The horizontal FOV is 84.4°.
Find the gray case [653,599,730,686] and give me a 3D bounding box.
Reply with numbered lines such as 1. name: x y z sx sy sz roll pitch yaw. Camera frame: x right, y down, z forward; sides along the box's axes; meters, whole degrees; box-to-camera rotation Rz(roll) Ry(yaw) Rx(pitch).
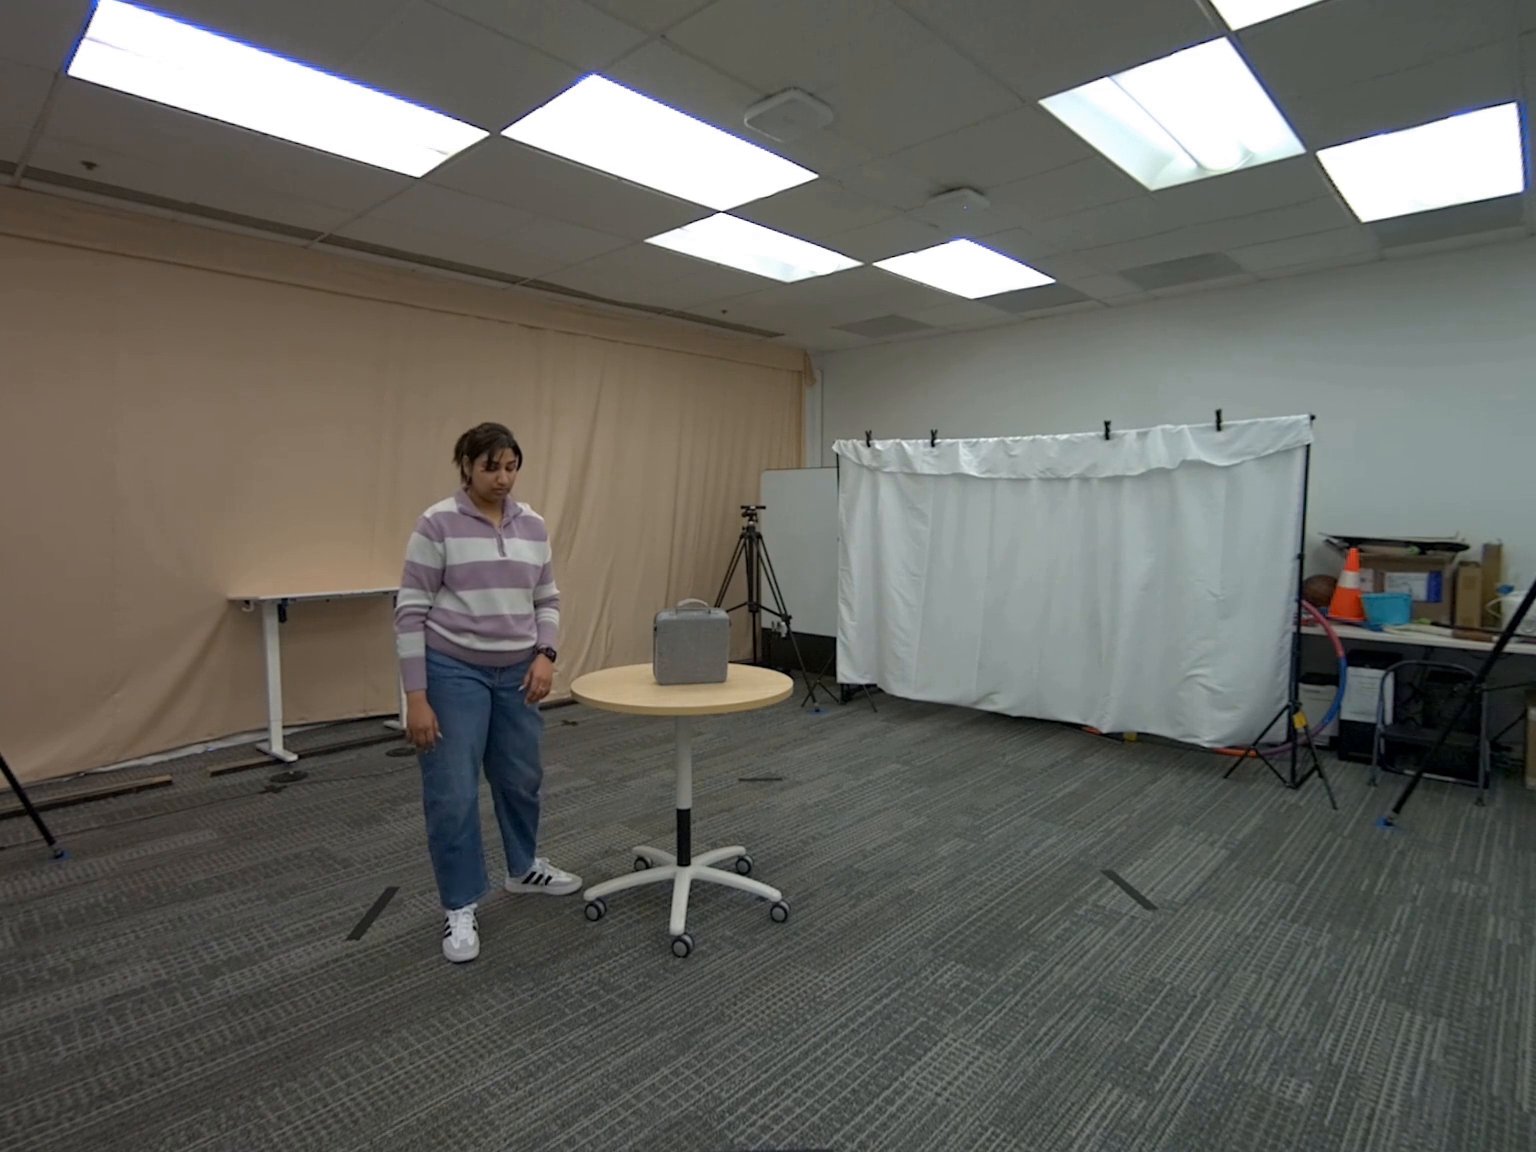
1. gray case: -0.263 0.241 2.879 0.255 0.258 0.106 0 13 -8
